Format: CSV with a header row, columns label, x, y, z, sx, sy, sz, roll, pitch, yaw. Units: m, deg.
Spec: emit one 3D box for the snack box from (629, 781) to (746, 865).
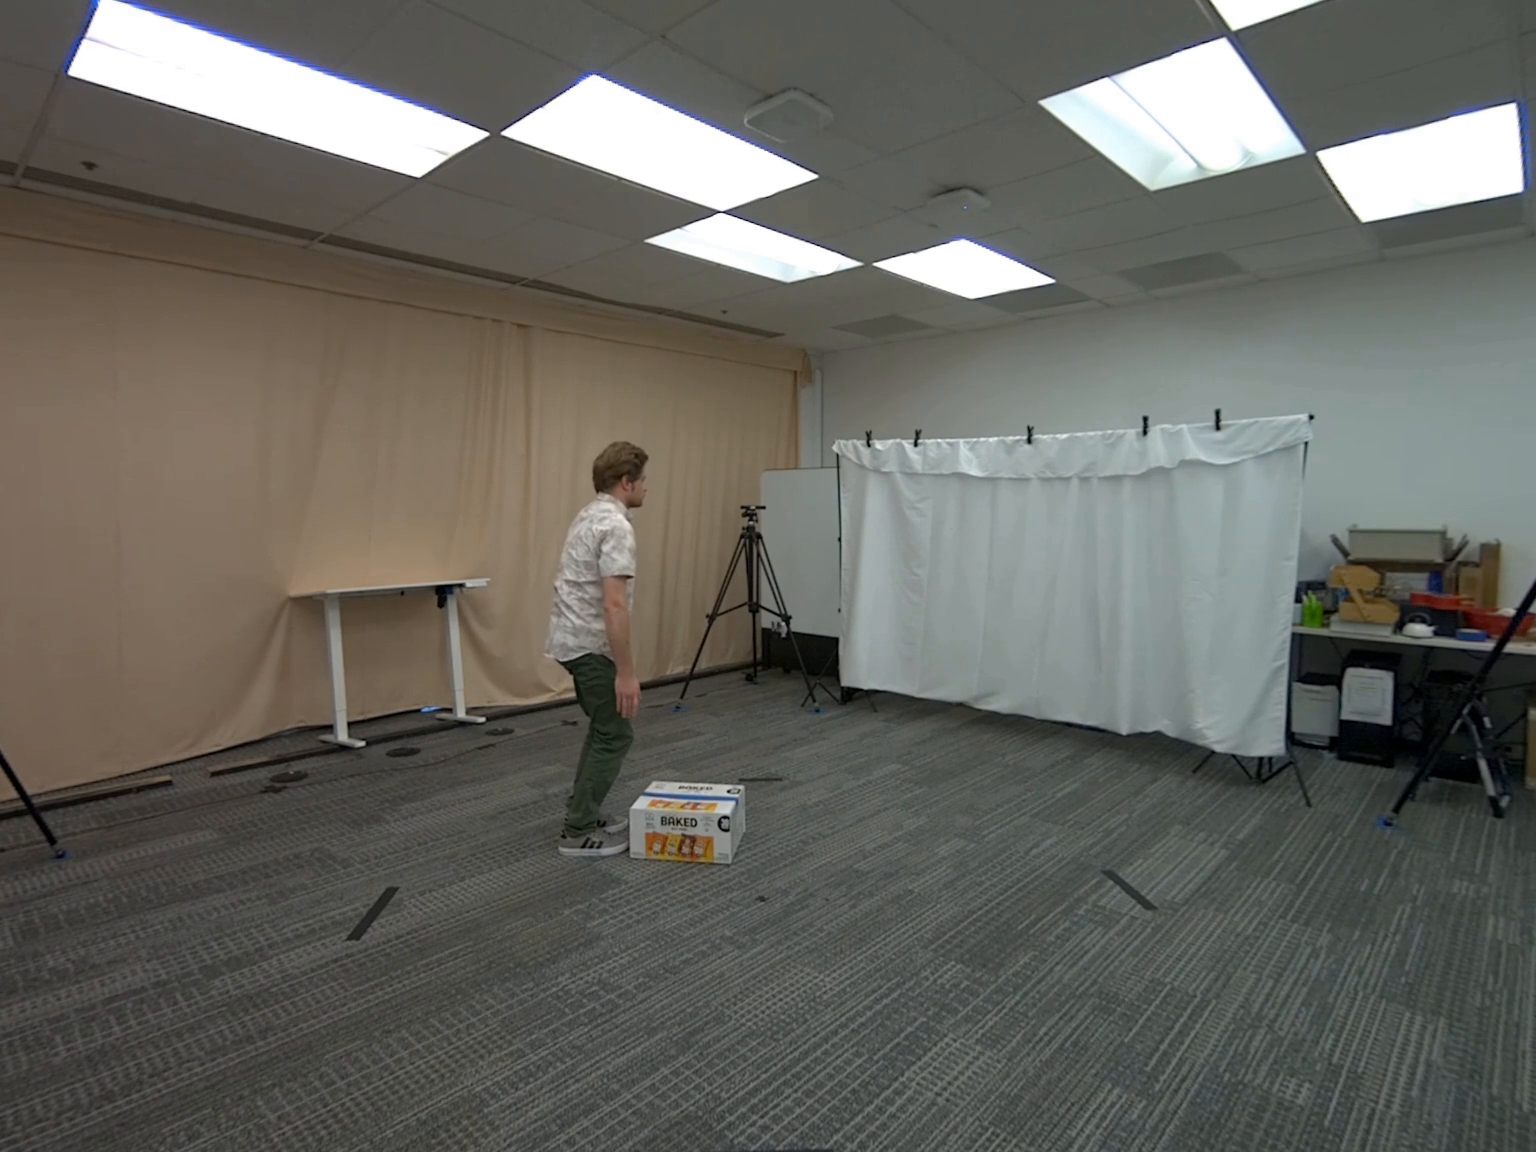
label,x,y,z,sx,sy,sz,roll,pitch,yaw
snack box,-0.324,1.002,3.454,0.410,0.205,0.337,0,4,9
